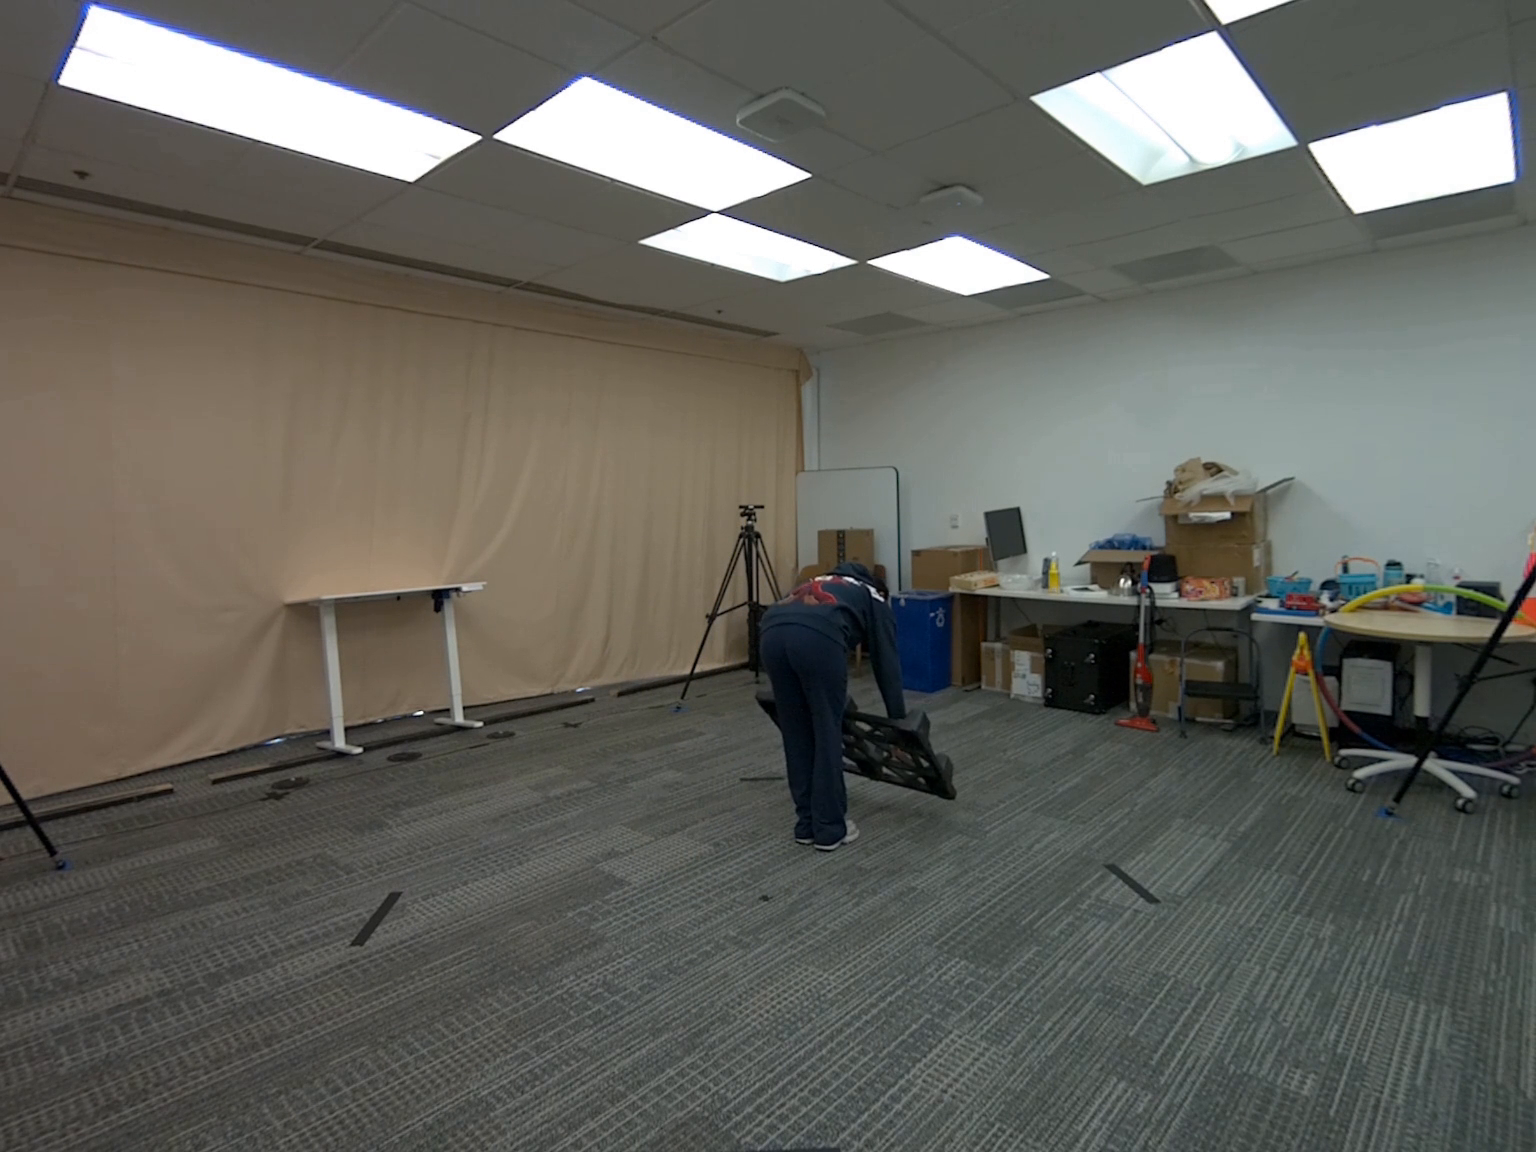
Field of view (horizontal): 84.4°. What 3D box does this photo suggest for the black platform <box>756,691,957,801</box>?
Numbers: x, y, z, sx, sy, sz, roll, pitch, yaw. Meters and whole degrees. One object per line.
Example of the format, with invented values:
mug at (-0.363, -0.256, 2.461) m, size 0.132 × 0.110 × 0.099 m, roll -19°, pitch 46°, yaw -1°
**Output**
black platform at (0.406, 0.722, 3.790) m, size 0.832 × 0.143 × 0.586 m, roll 6°, pitch -38°, yaw 36°
